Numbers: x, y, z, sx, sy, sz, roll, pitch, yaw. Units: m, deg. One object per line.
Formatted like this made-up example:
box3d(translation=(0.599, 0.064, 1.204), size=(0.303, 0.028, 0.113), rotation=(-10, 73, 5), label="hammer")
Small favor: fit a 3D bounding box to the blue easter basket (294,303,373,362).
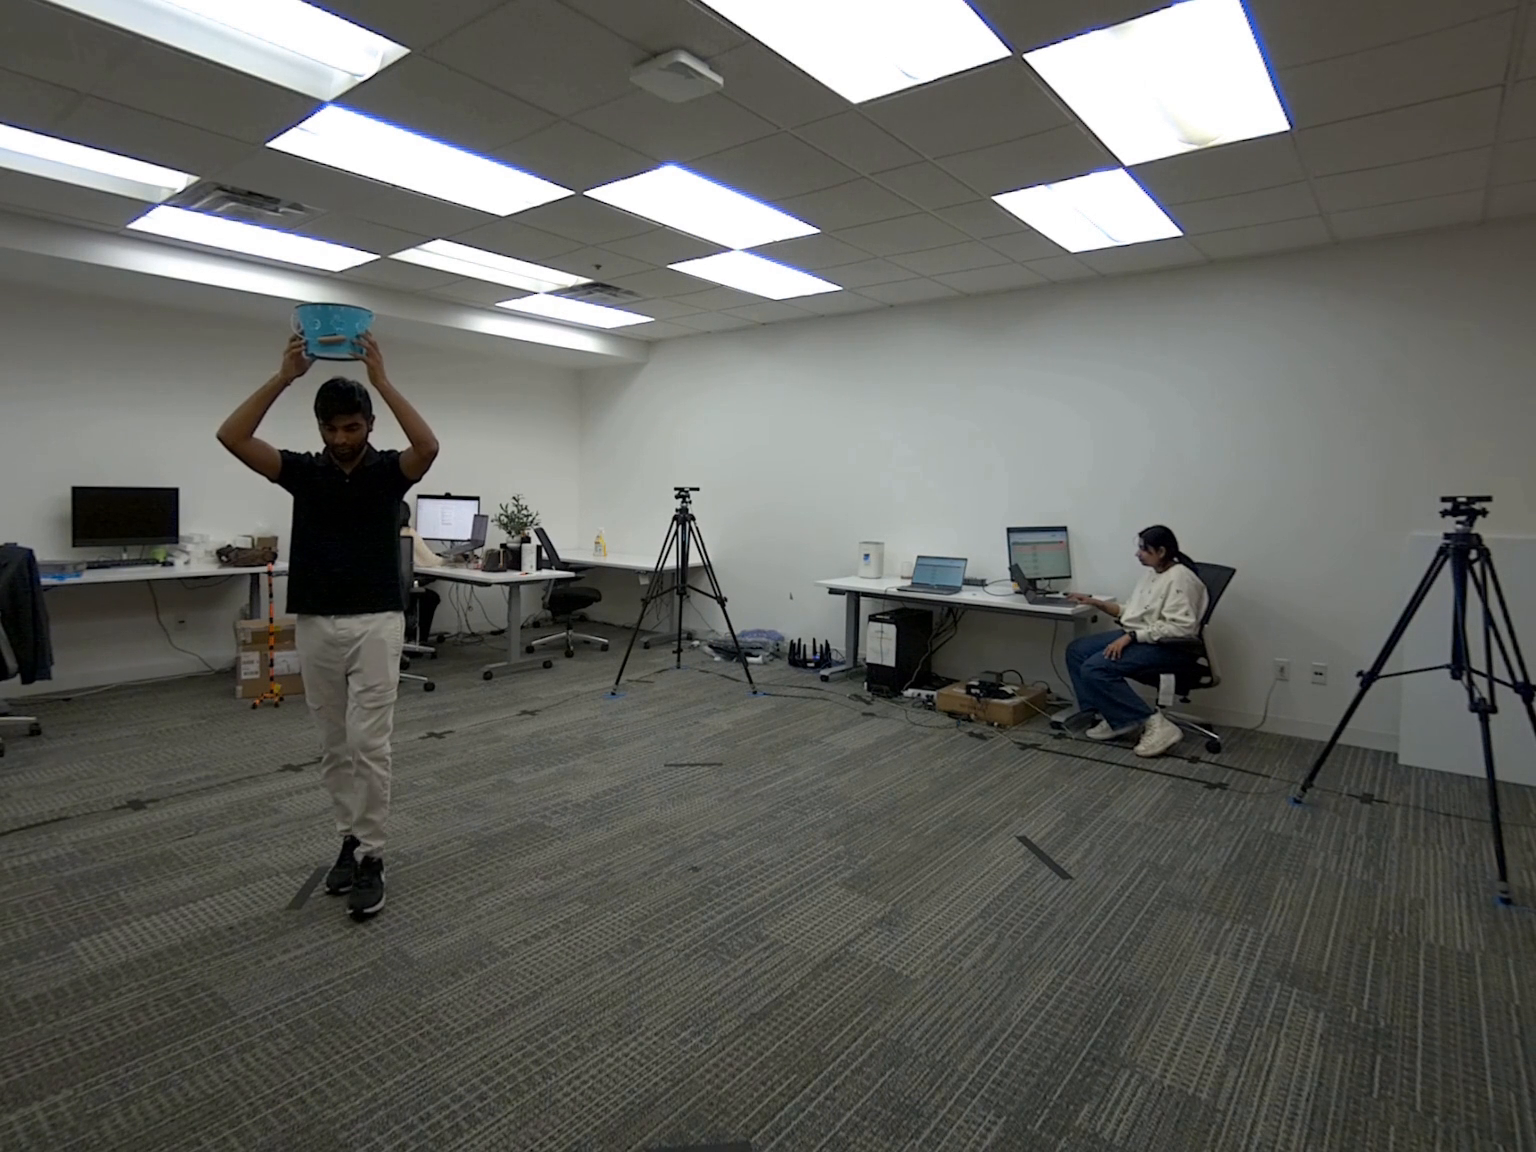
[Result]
box3d(translation=(-1.432, -0.793, 2.750), size=(0.243, 0.155, 0.245), rotation=(-2, 7, -2), label="blue easter basket")
